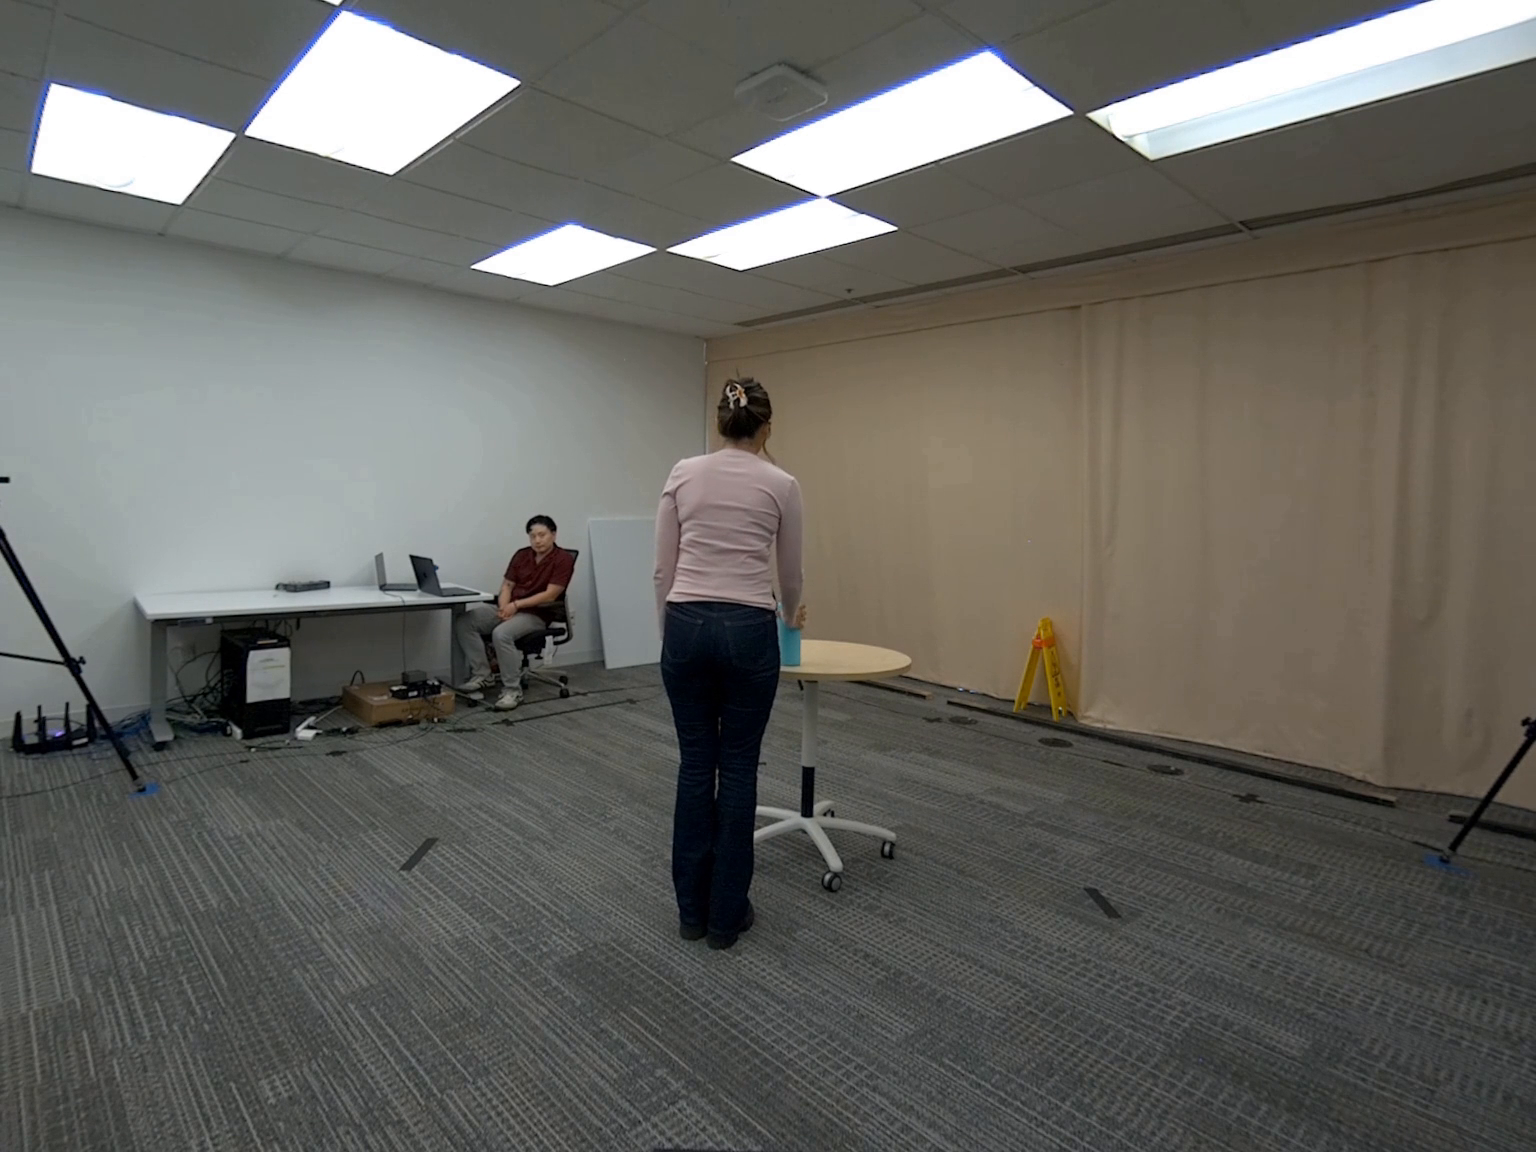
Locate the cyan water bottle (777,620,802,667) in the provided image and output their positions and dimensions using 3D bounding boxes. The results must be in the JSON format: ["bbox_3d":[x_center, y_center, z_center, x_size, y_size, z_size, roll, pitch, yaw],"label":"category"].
[{"bbox_3d":[0.072,0.189,3.078,0.092,0.282,0.093,0,5,-1],"label":"cyan water bottle"}]
